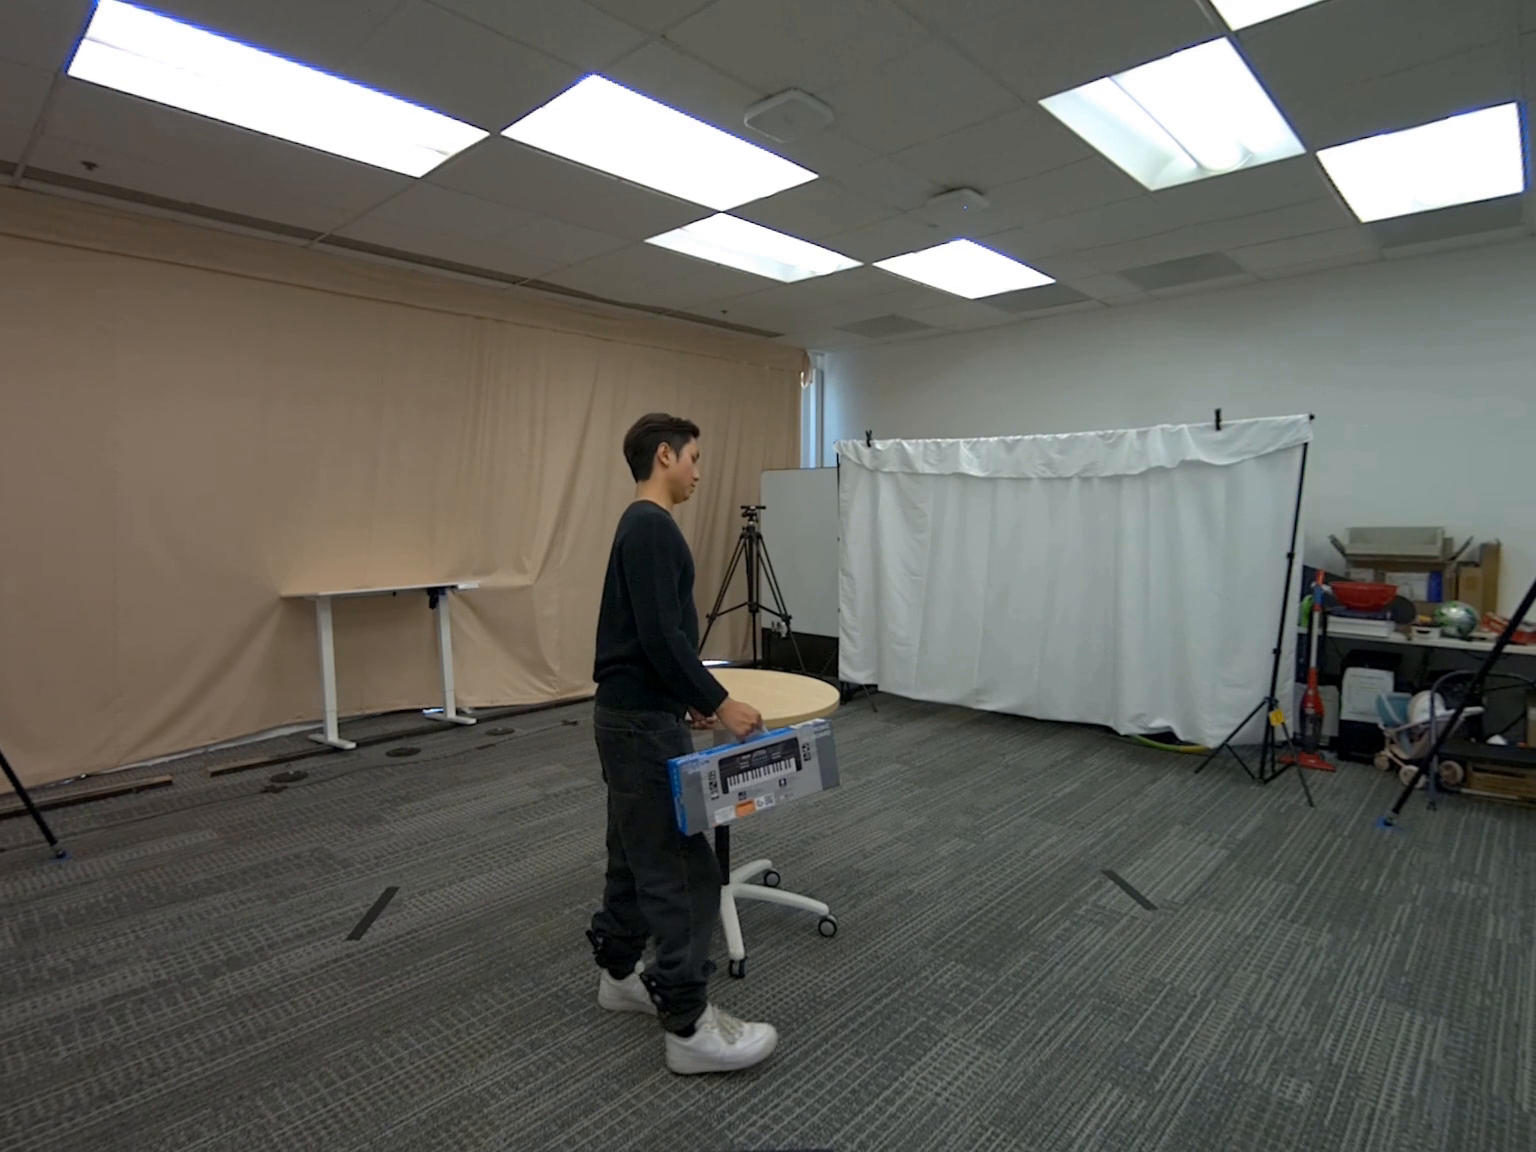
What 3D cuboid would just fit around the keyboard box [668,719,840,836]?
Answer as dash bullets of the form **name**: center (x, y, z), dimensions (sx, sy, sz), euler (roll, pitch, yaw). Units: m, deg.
- **keyboard box**: center (-0.023, 0.490, 2.076), dimensions (0.427, 0.175, 0.060), euler (-9, 3, -27)
